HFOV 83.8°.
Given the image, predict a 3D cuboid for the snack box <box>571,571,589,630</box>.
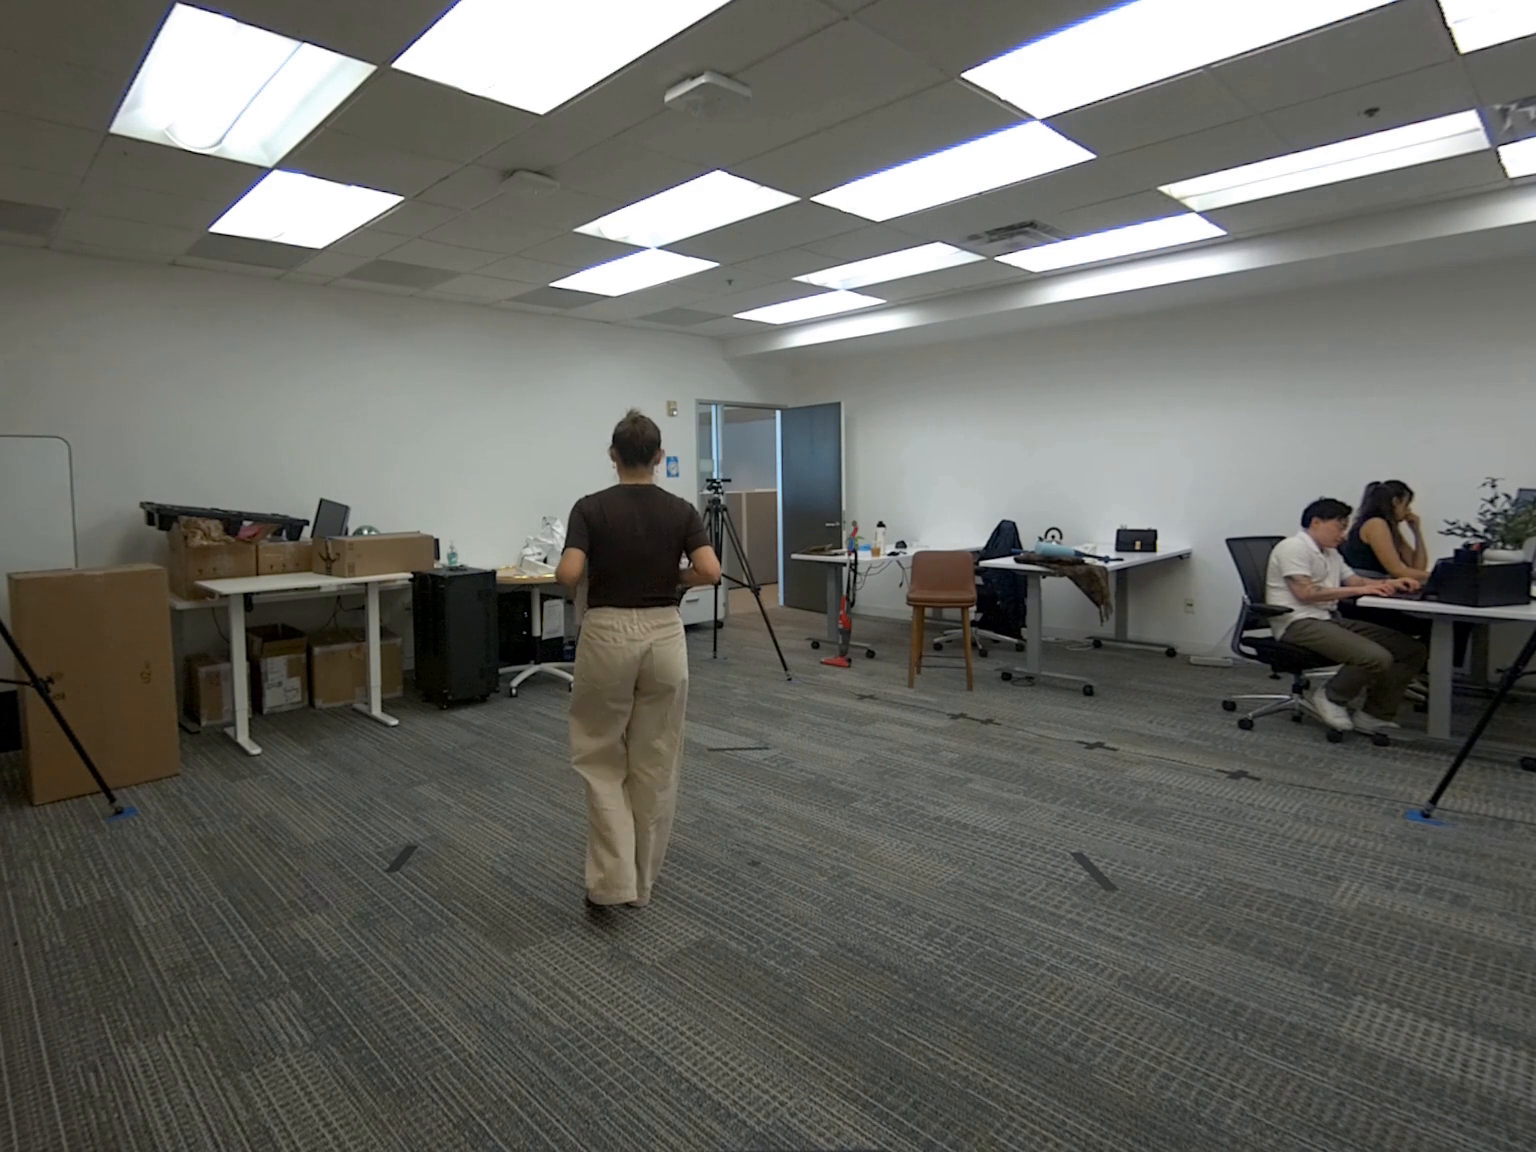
[{"bbox_3d":[-0.504,-0.038,3.033,0.336,0.403,0.209,1,5,-14],"label":"snack box"}]
